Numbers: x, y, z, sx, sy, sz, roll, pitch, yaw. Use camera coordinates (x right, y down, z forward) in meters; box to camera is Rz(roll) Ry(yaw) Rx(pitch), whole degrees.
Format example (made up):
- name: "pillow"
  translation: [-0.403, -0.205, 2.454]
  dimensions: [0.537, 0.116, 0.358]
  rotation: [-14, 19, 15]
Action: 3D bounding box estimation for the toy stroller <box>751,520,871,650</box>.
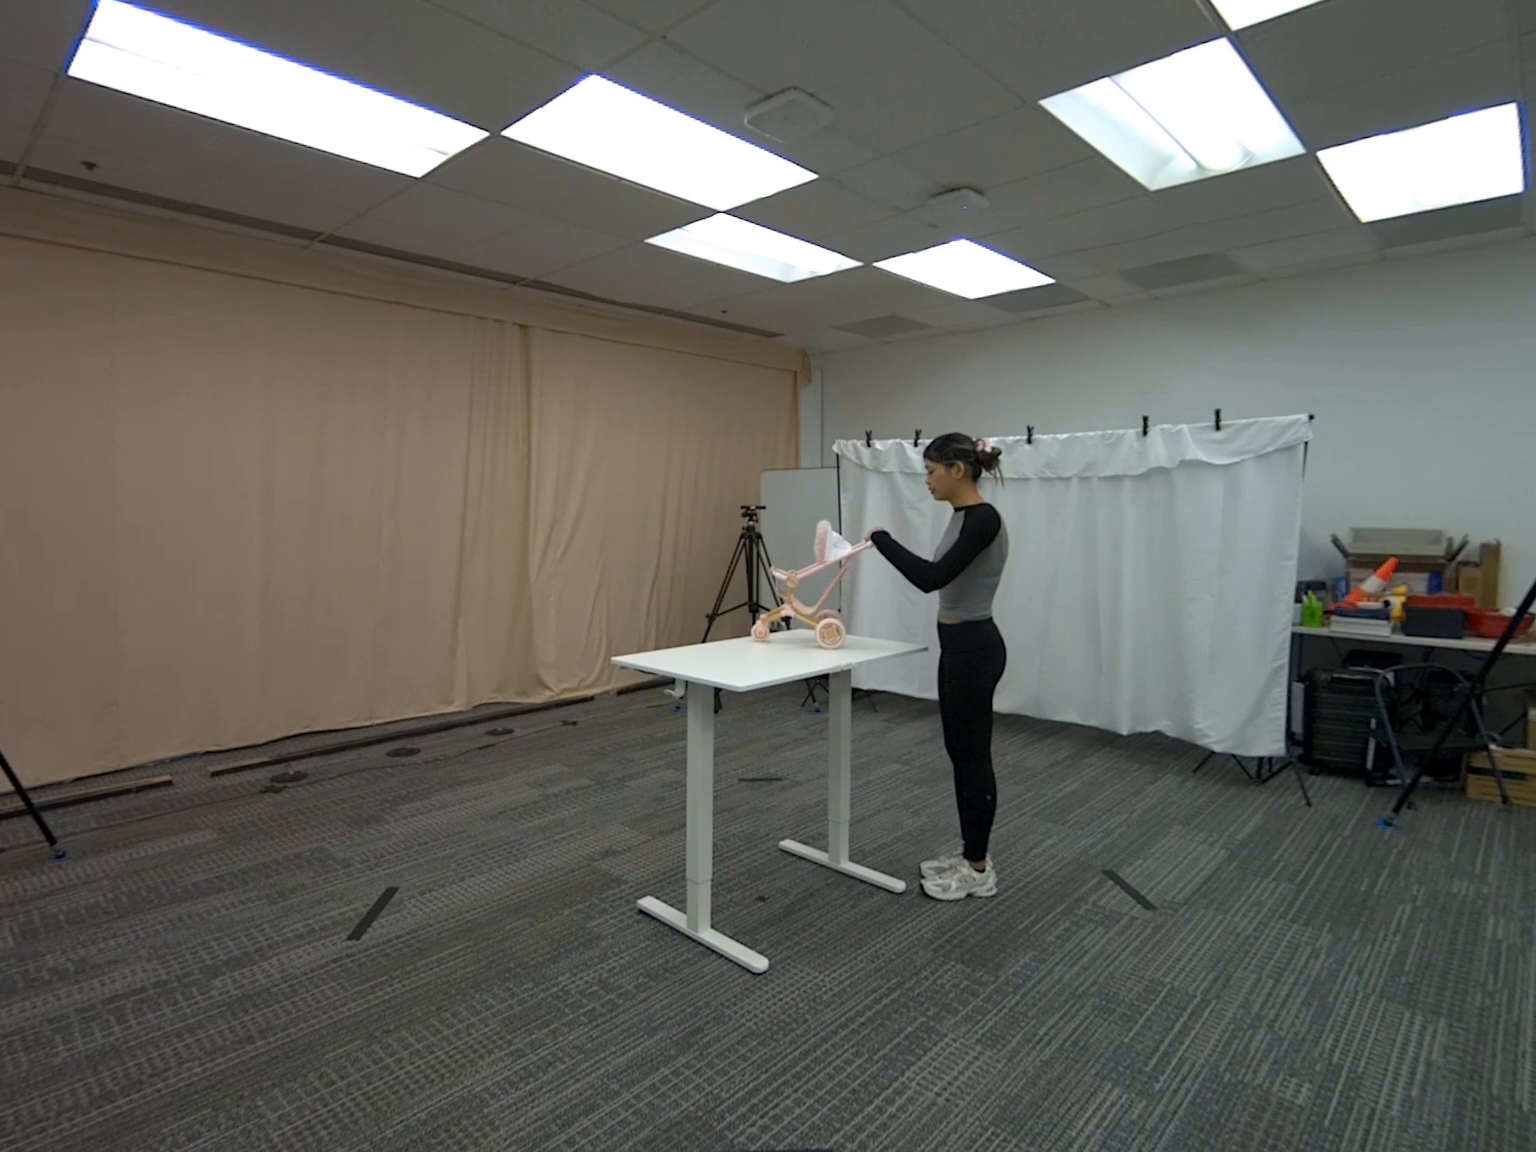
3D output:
- name: "toy stroller"
  translation: [0.180, 0.036, 3.116]
  dimensions: [0.345, 0.534, 0.279]
  rotation: [19, 5, 7]
